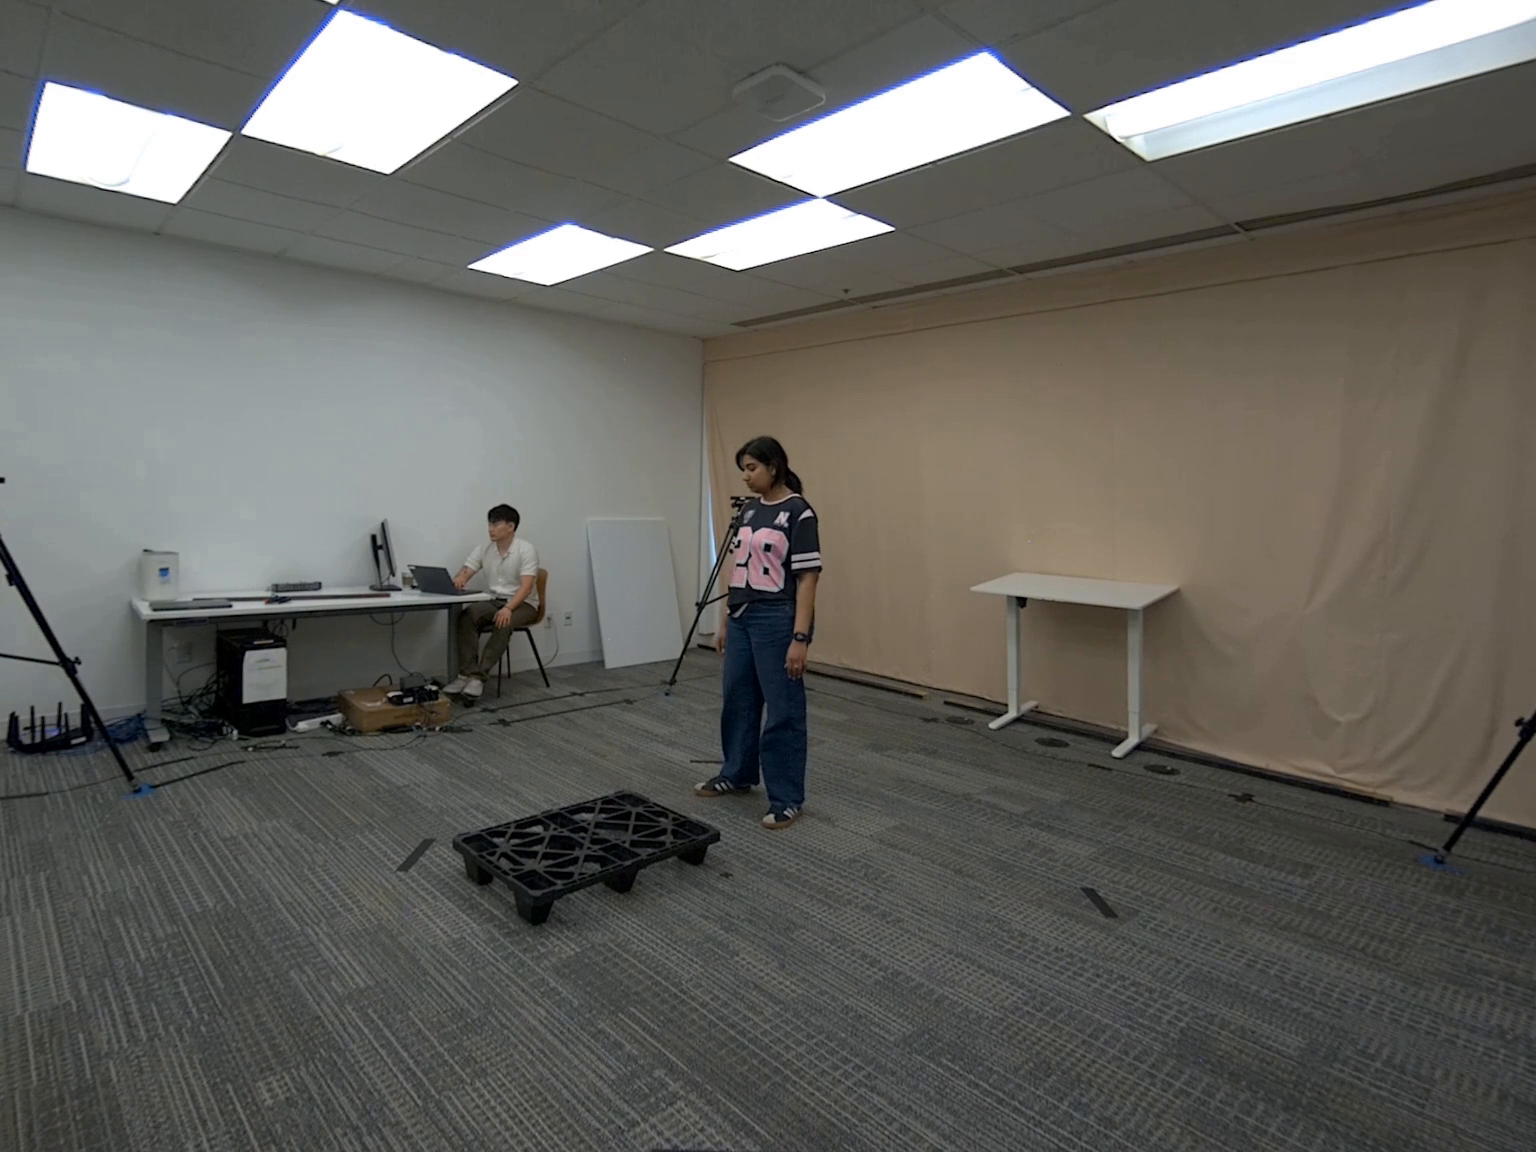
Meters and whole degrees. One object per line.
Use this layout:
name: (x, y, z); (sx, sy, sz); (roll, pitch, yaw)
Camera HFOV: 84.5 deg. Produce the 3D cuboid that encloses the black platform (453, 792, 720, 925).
black platform: (-0.665, 1.025, 3.119); (0.787, 0.143, 0.621); (-4, 8, -45)
